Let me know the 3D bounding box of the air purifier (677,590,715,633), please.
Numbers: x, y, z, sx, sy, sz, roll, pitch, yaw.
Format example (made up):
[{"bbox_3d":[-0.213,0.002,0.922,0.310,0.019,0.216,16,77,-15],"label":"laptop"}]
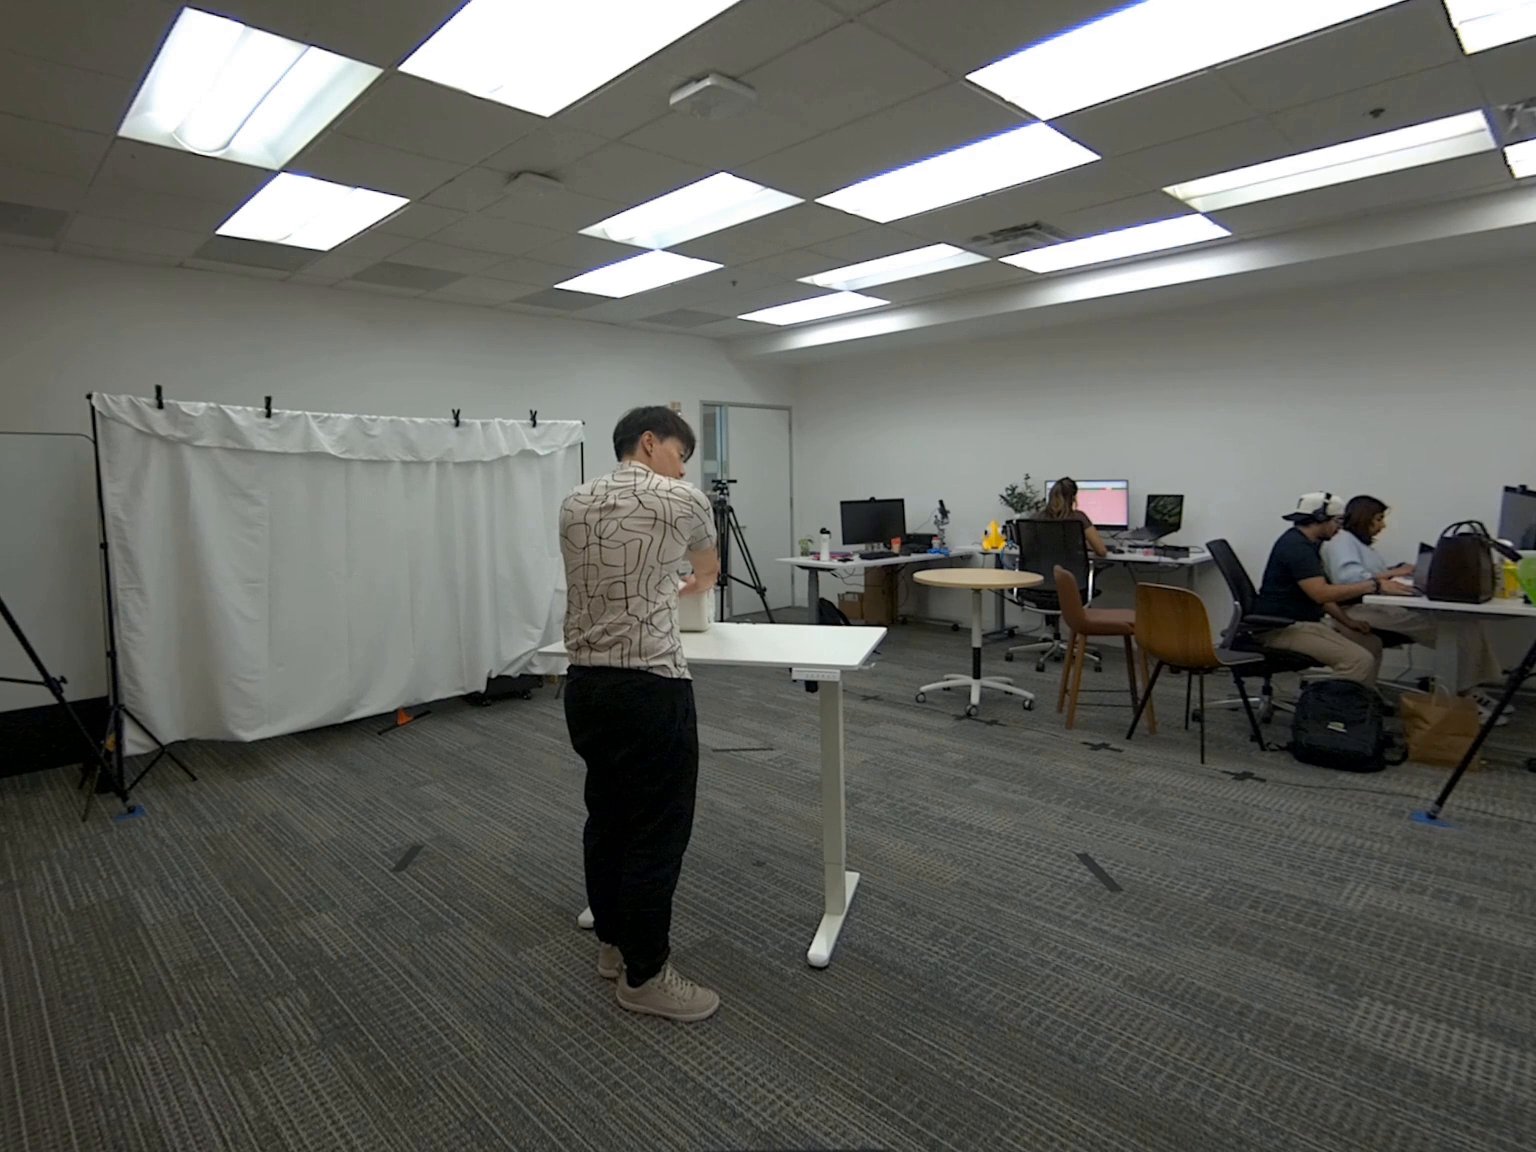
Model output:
[{"bbox_3d":[-0.319,0.098,2.973,0.268,0.170,0.170,-2,6,12],"label":"air purifier"}]
